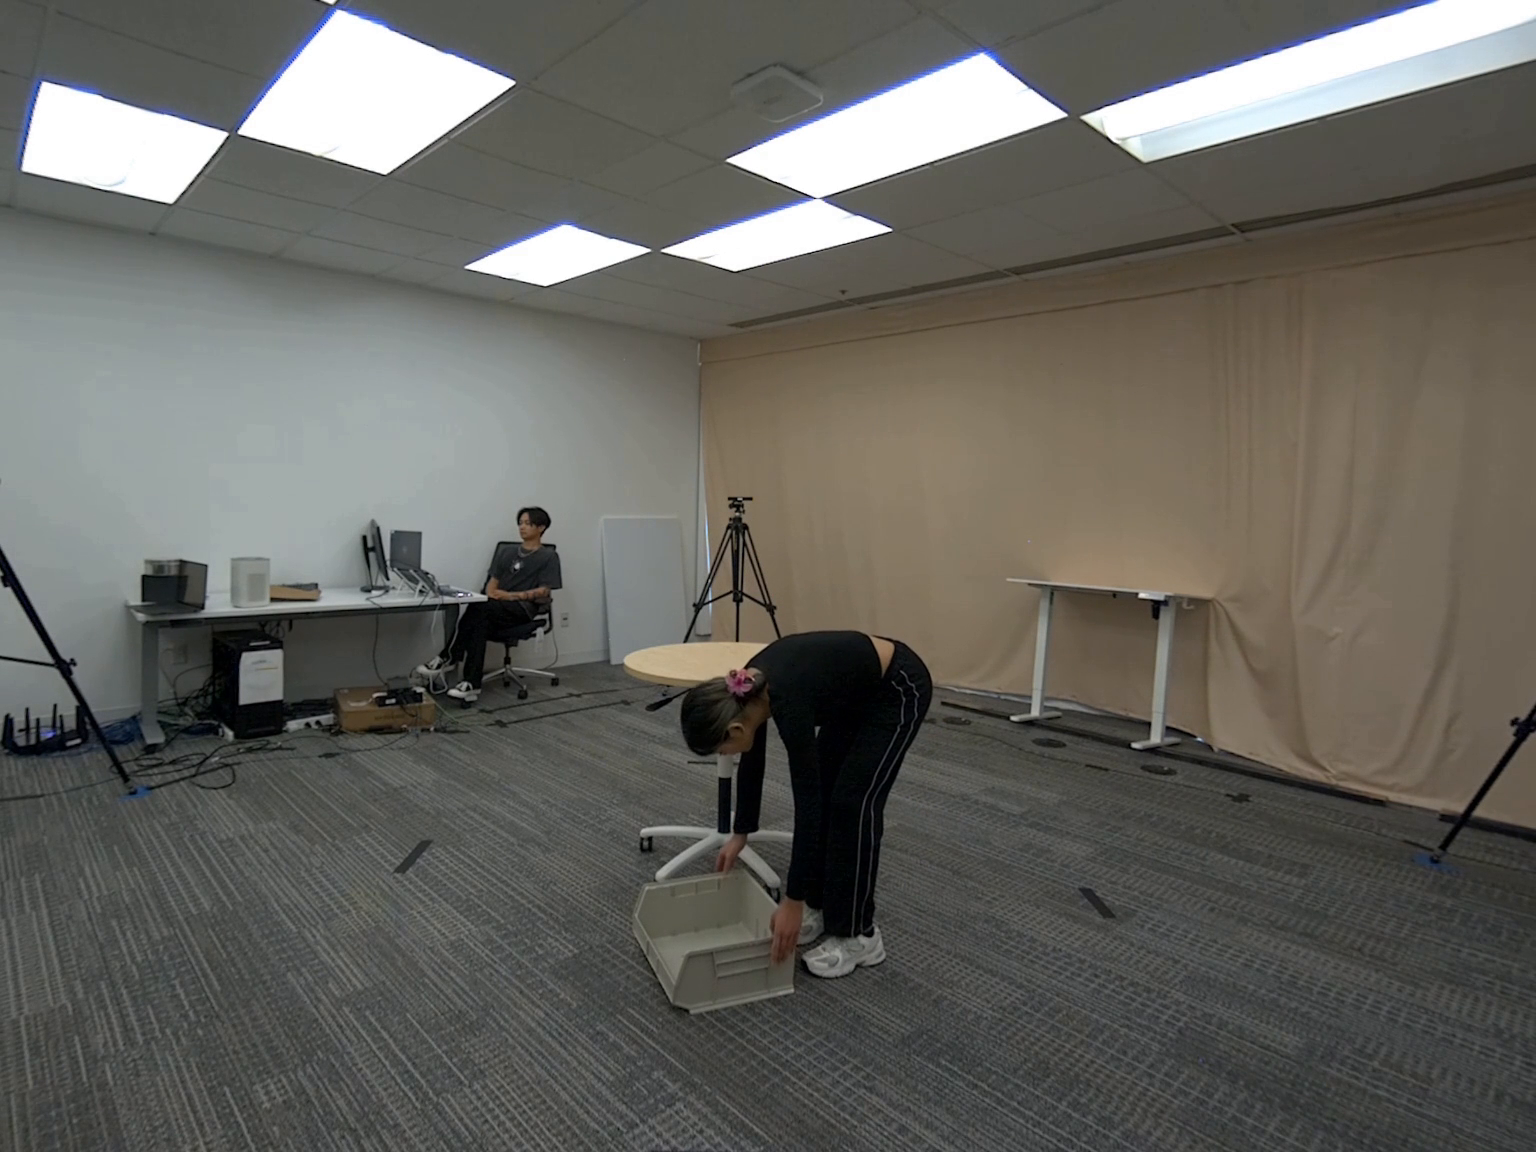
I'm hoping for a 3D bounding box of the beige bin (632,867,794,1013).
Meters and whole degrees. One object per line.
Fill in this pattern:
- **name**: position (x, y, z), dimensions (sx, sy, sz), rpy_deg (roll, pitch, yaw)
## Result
- **beige bin**: position (-0.167, 1.068, 2.499), dimensions (0.371, 0.188, 0.431), rpy_deg (0, 4, -24)
